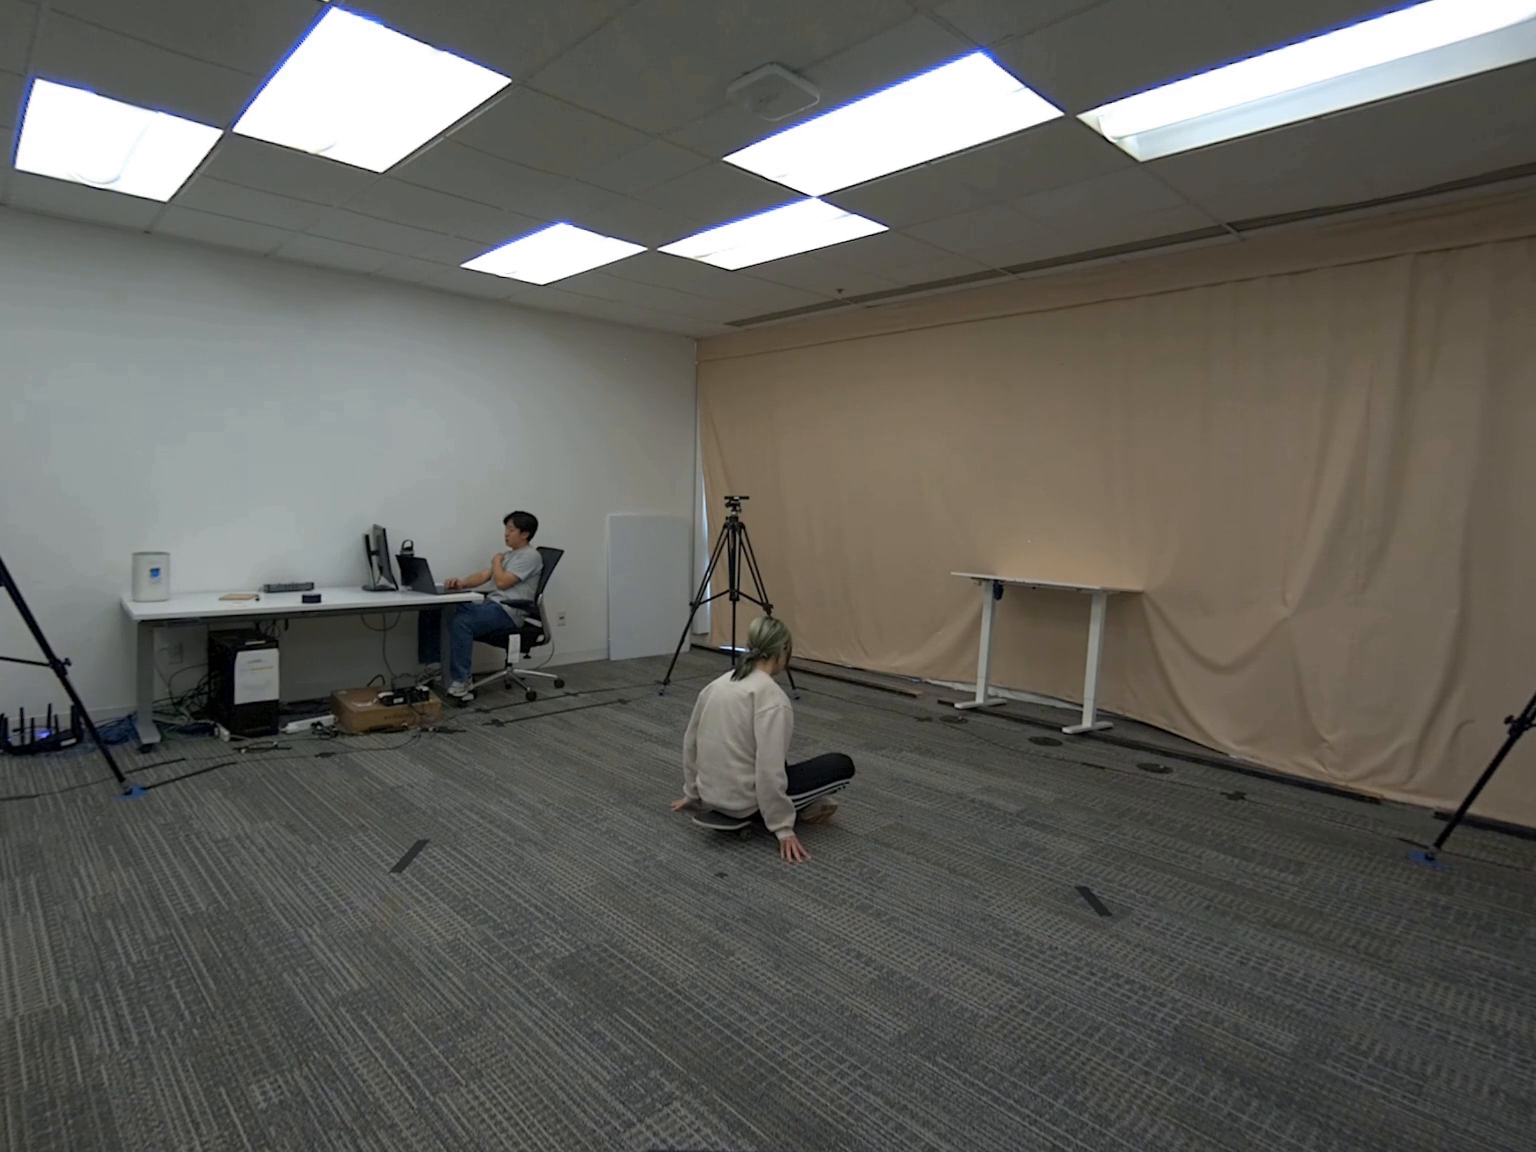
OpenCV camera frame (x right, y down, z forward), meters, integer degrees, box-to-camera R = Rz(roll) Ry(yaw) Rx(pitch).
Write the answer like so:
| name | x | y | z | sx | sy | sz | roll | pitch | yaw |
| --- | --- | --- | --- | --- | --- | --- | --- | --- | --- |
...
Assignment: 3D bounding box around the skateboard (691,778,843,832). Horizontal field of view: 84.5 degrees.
| name | x | y | z | sx | sy | sz | roll | pitch | yaw |
| --- | --- | --- | --- | --- | --- | --- | --- | --- | --- |
| skateboard | -0.022 | 1.007 | 3.641 | 0.198 | 0.110 | 0.769 | 1 | 6 | 40 |
